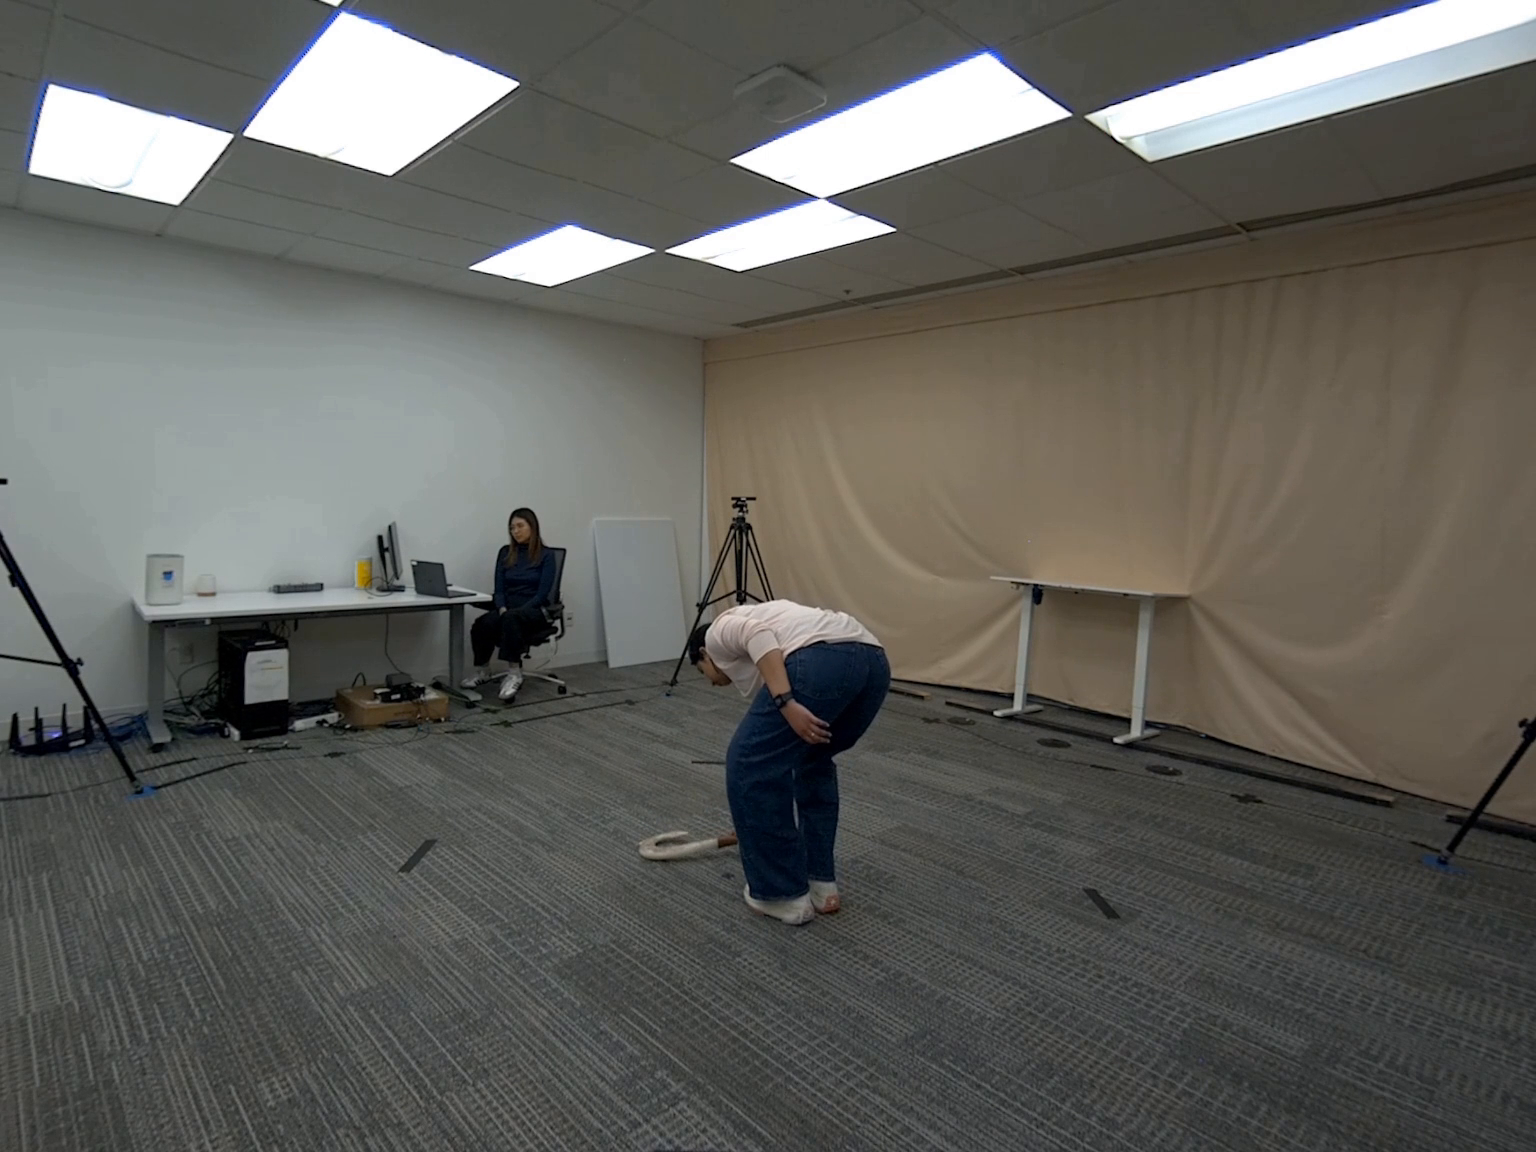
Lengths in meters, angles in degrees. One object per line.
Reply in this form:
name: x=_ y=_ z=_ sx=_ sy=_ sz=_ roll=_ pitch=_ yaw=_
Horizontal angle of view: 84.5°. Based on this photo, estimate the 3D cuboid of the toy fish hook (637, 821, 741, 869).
toy fish hook: x=-0.252 y=1.041 z=3.307 sx=0.505 sy=0.048 sz=0.226 roll=-5 pitch=8 yaw=-4
